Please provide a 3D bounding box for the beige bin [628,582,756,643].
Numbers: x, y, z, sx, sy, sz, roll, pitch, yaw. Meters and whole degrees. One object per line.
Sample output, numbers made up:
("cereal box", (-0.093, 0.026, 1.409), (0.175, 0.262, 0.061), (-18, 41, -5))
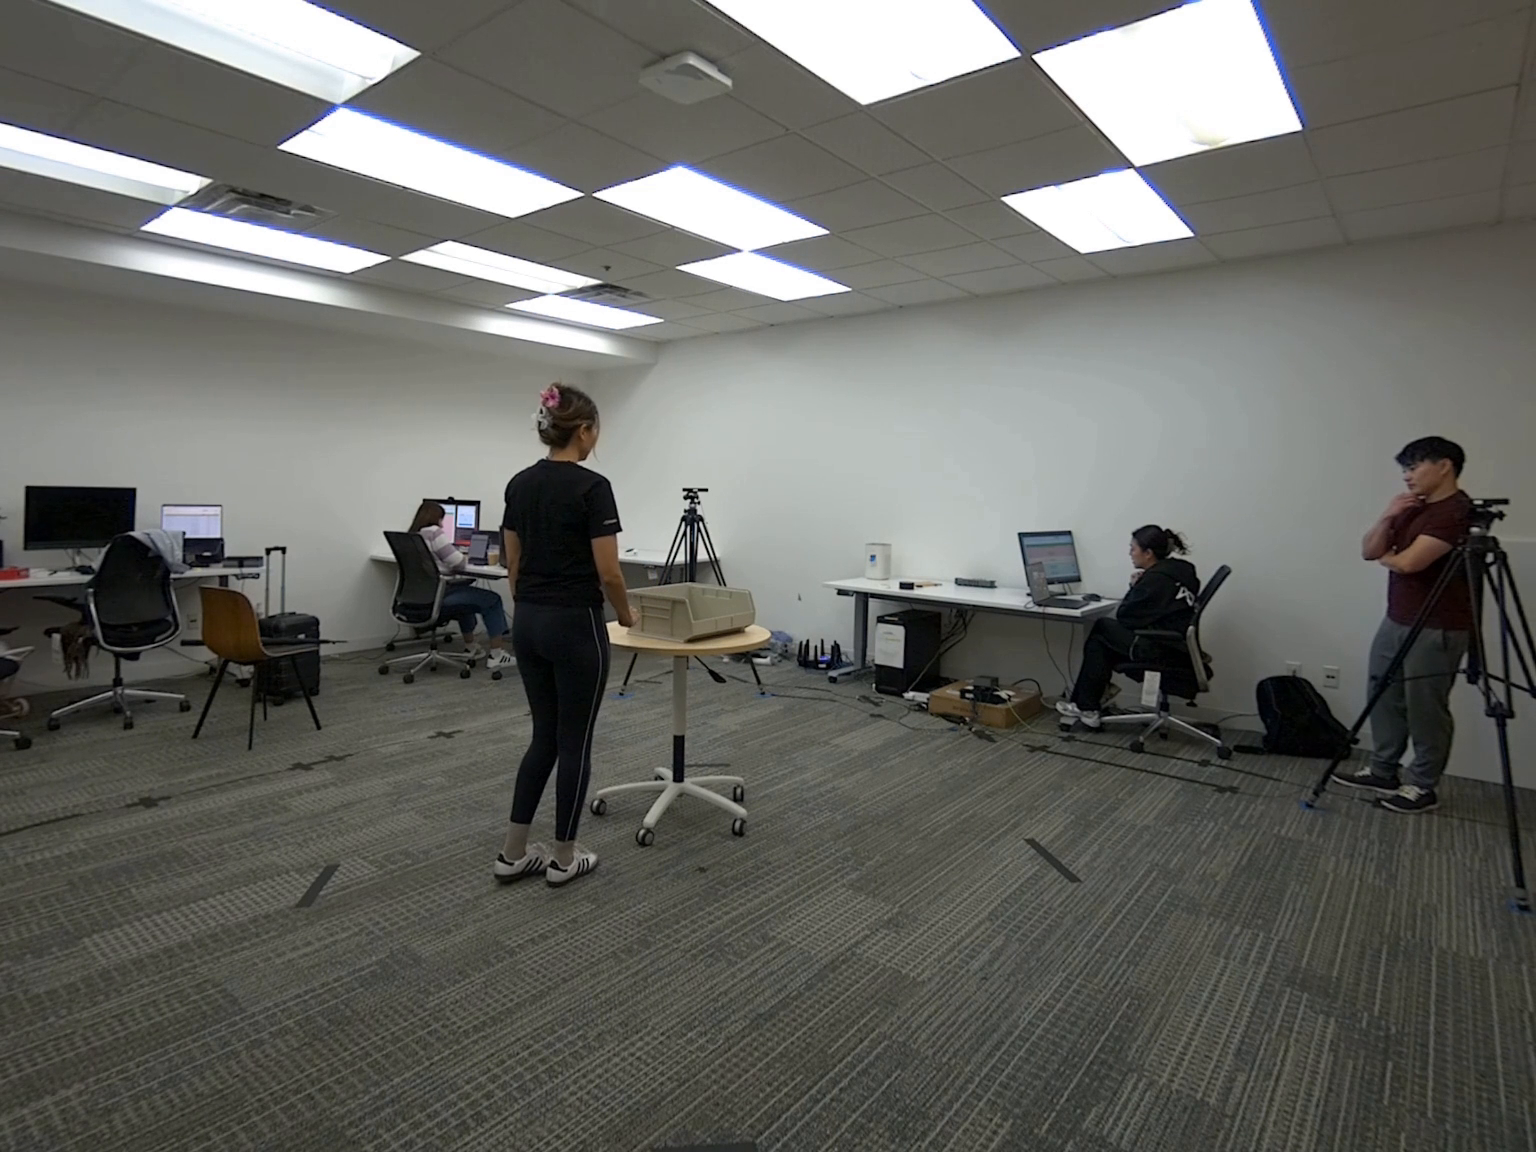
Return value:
("beige bin", (-0.336, 0.149, 3.578), (0.390, 0.188, 0.410), (4, 7, 37))
